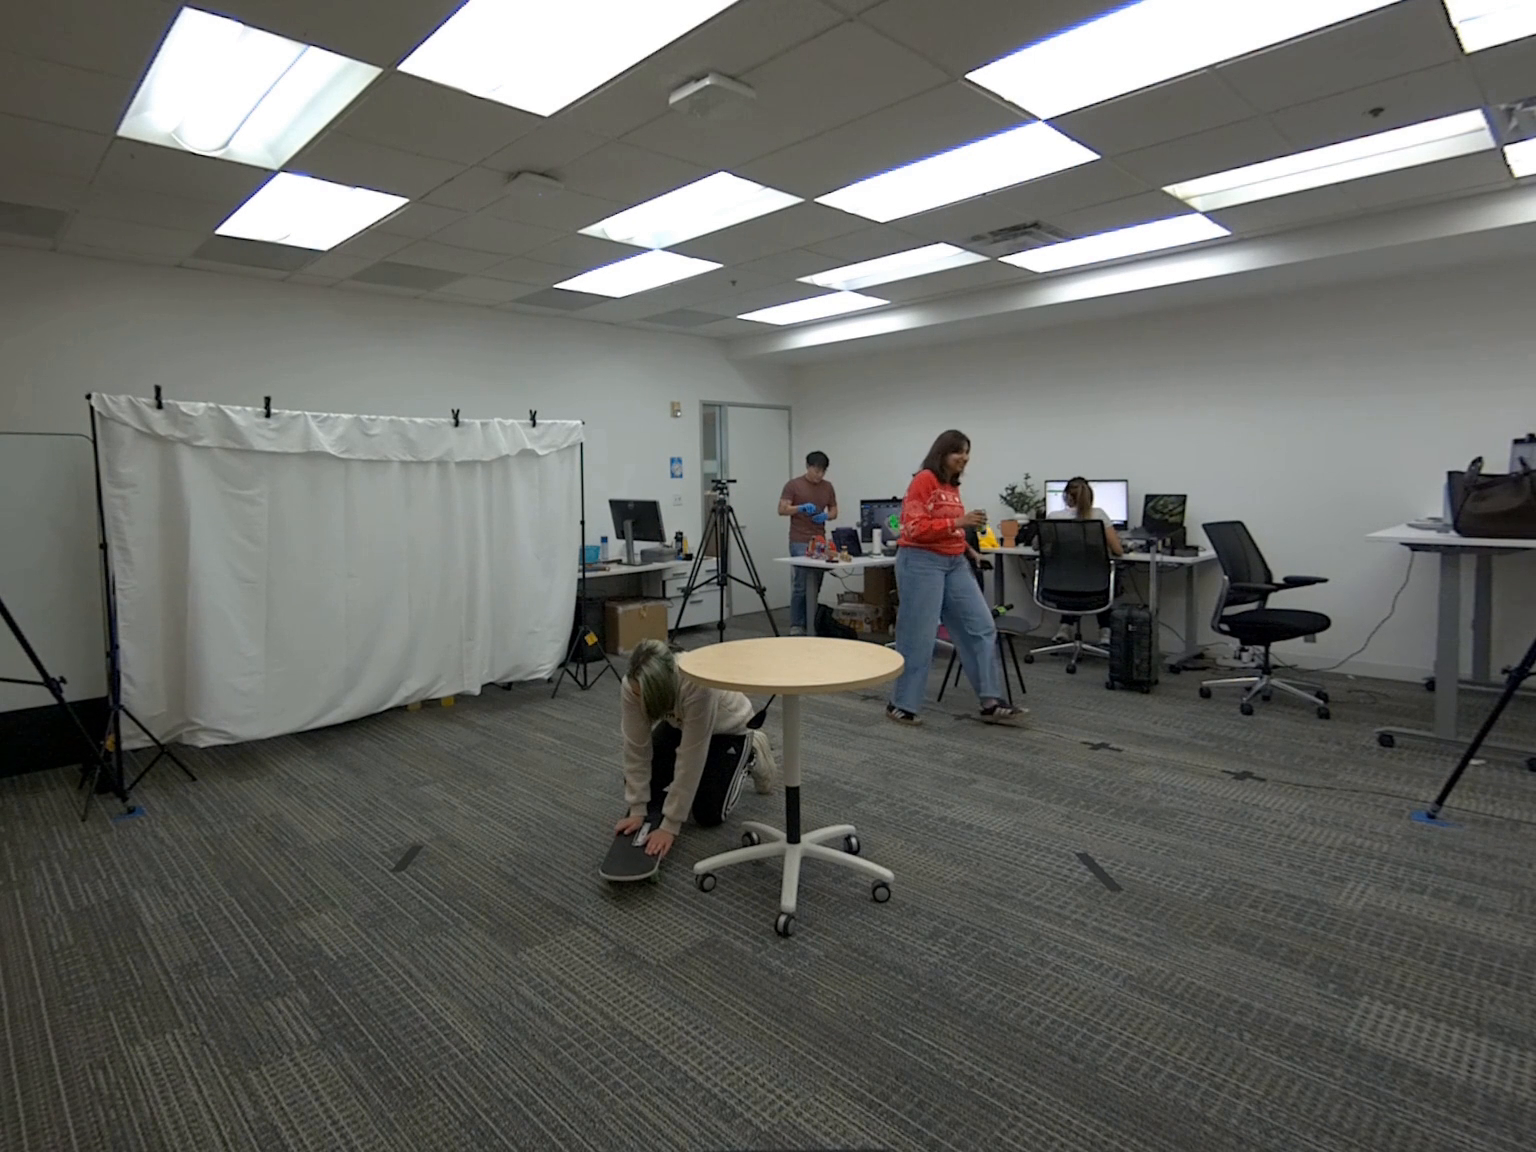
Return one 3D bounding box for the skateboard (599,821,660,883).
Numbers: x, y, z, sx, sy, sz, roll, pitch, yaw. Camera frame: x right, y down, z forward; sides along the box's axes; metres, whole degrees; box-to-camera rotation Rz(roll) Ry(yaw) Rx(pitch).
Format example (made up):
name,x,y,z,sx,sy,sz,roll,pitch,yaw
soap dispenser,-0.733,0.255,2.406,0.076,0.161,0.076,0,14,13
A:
name,x,y,z,sx,sy,sz,roll,pitch,yaw
skateboard,-0.462,0.994,3.179,0.194,0.110,0.787,-1,6,1
